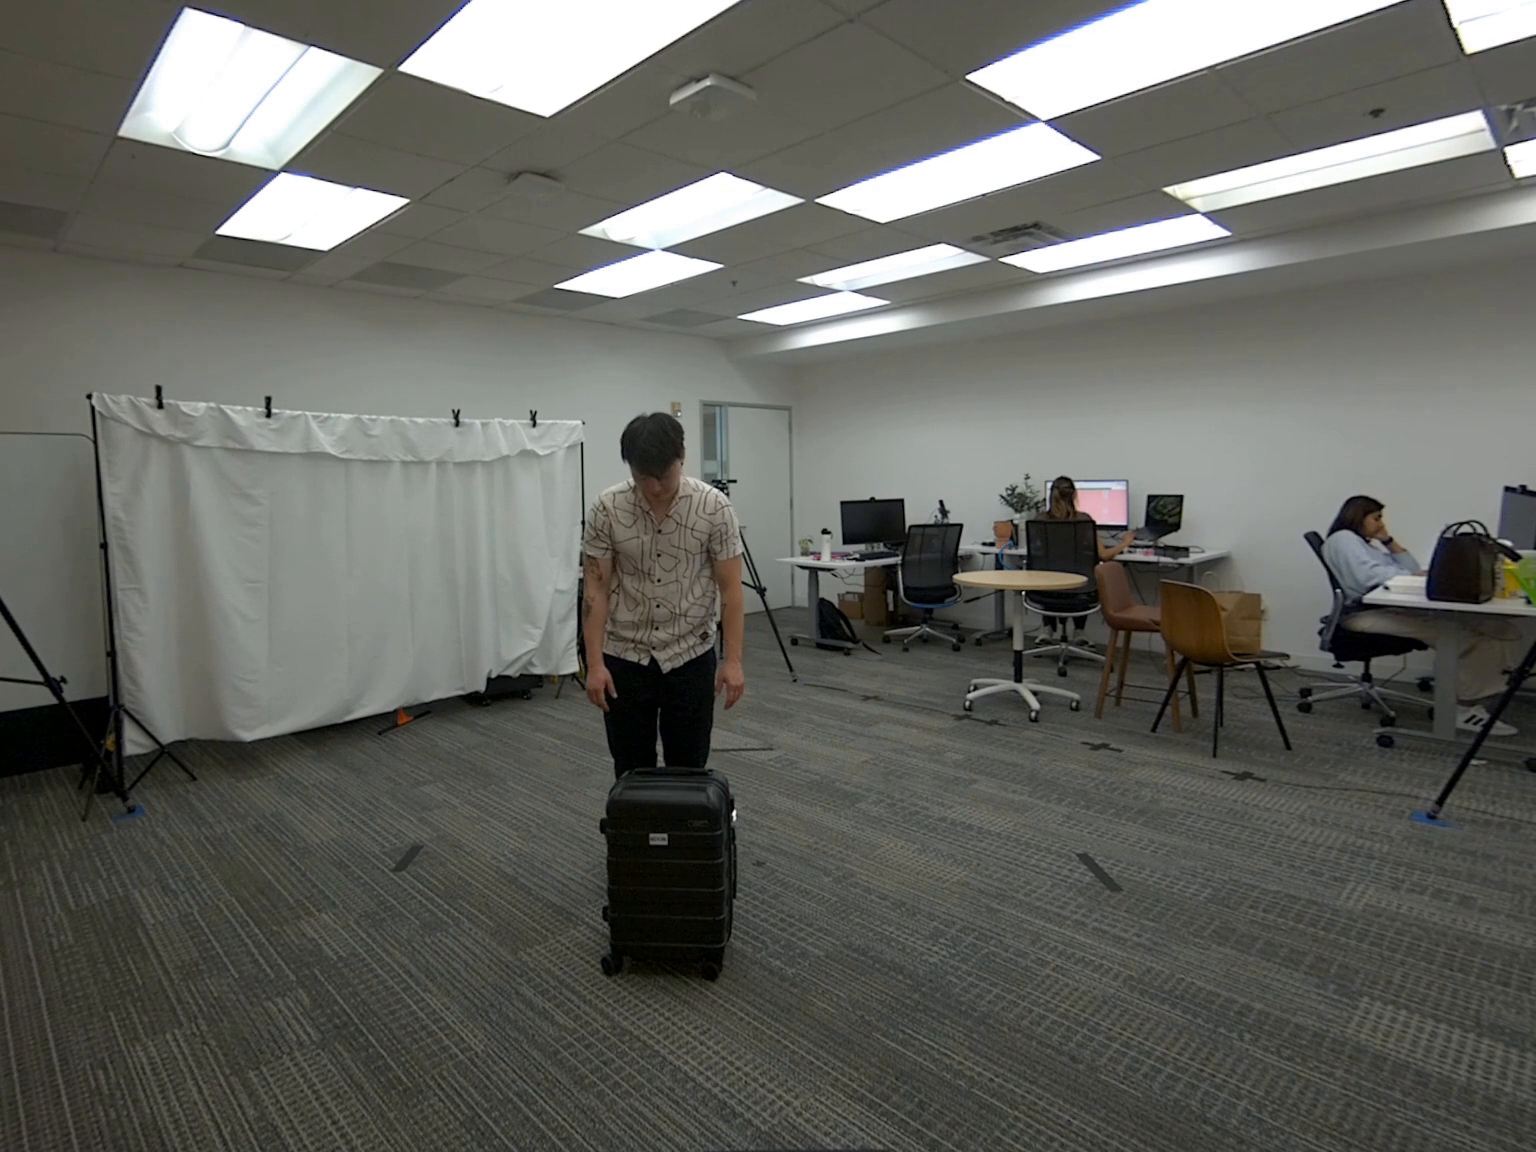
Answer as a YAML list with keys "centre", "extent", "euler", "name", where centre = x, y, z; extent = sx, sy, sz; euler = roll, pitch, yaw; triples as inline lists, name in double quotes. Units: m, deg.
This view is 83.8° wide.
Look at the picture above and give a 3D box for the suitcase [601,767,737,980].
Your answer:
- centre: [-0.282, 0.848, 2.502]
  extent: [0.377, 0.547, 0.248]
  euler: [0, 4, 5]
  name: "suitcase"
